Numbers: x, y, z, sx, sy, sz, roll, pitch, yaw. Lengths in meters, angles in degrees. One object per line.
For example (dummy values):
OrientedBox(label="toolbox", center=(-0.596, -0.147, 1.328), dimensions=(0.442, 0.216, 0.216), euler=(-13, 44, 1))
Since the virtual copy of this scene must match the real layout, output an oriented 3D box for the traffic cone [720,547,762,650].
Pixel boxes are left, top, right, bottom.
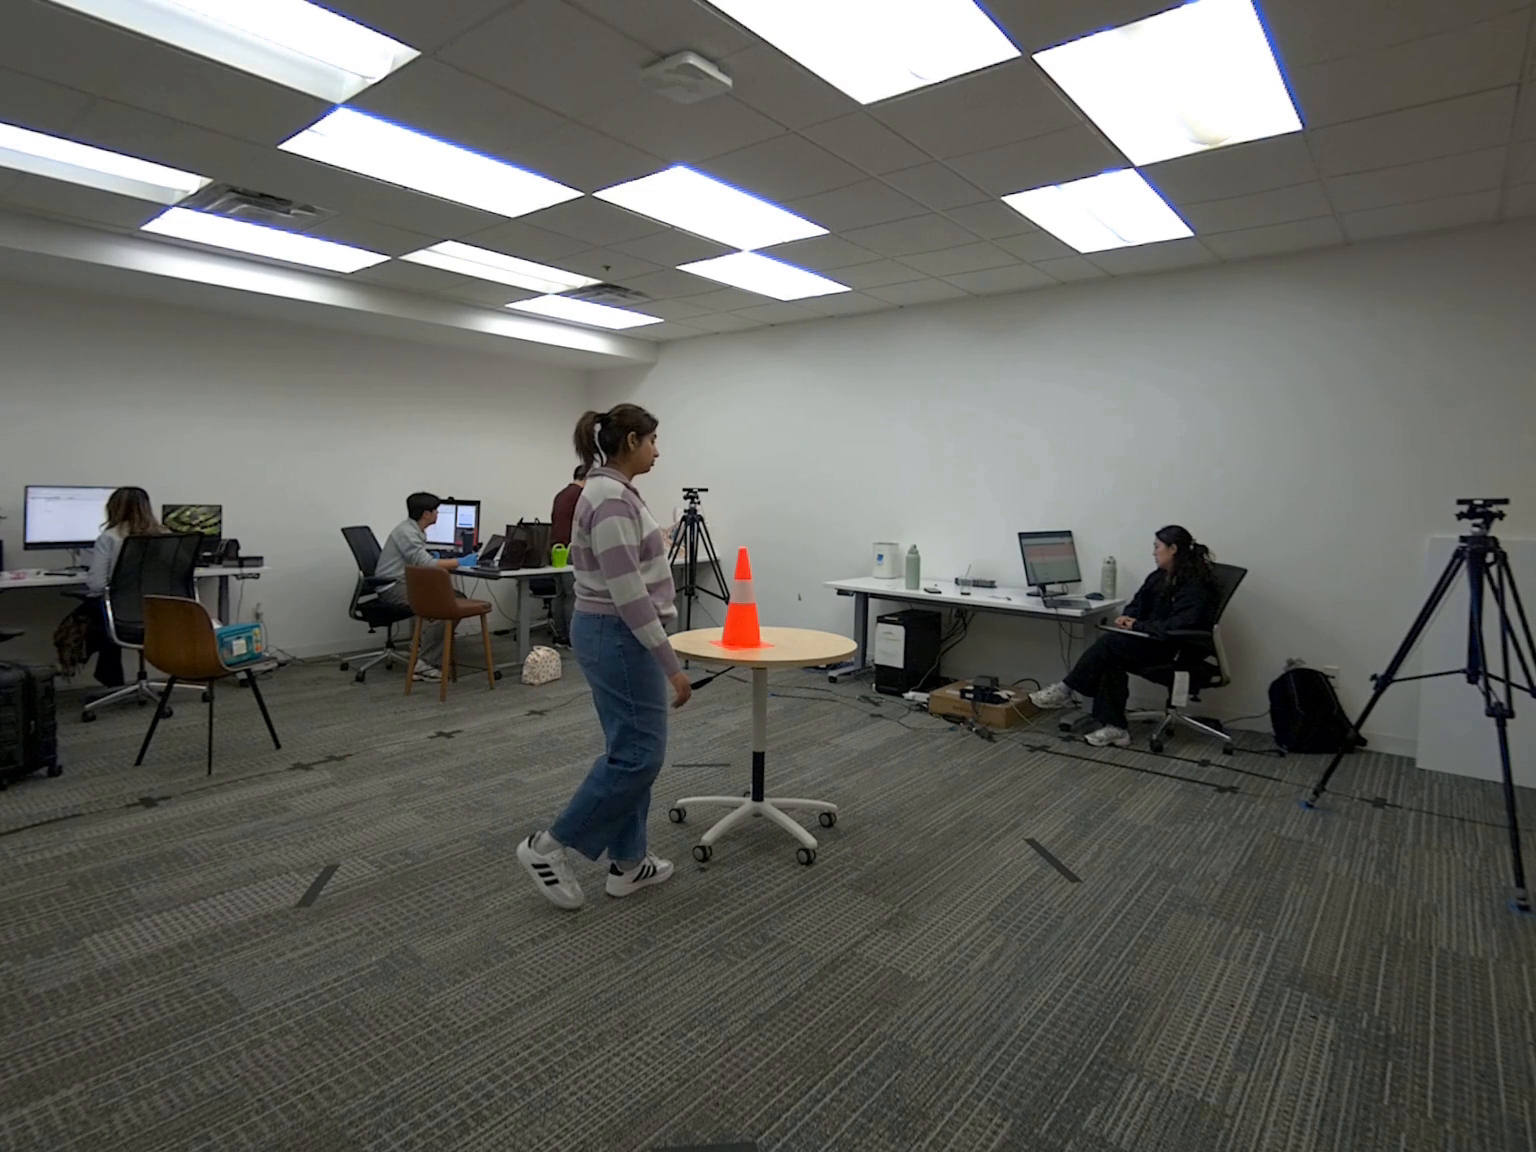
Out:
OrientedBox(label="traffic cone", center=(-0.107, 0.078, 3.340), dimensions=(0.199, 0.382, 0.210), euler=(0, 5, -38))
